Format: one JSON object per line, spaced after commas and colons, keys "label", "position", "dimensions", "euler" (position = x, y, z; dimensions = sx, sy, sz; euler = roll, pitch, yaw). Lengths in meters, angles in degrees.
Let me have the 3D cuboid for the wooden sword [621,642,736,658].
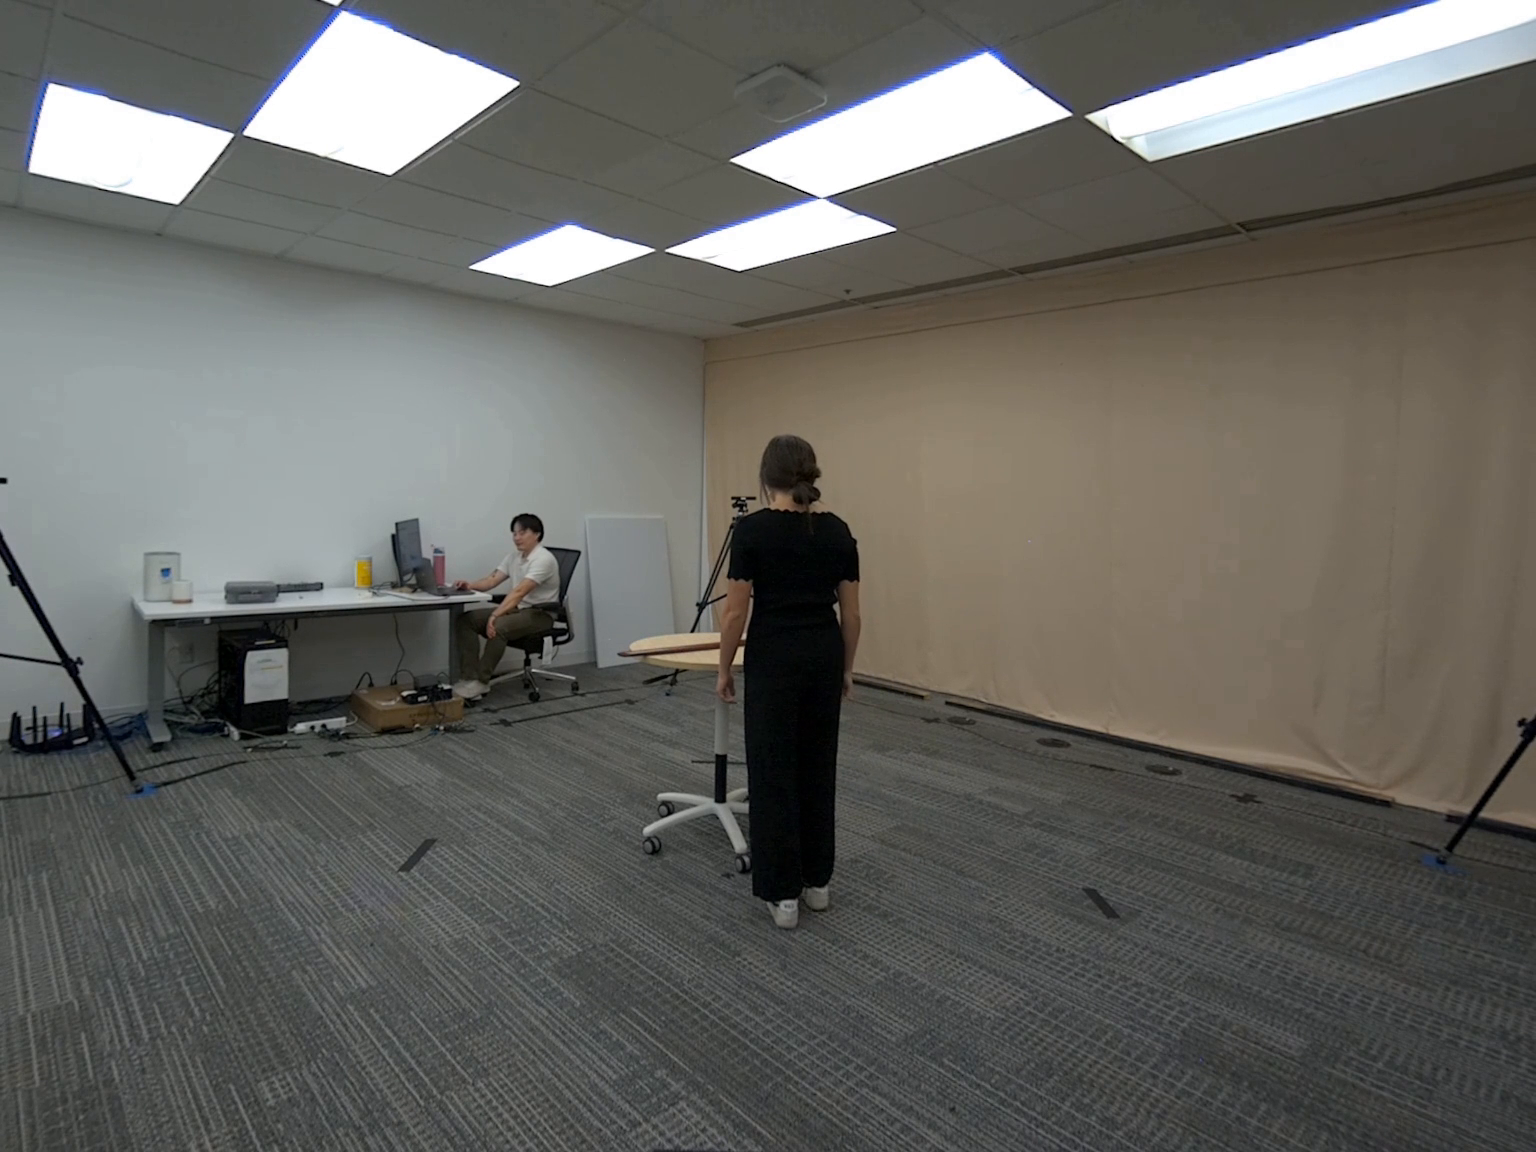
{"label": "wooden sword", "position": [-0.130, 0.289, 3.463], "dimensions": [1.001, 0.051, 0.025], "euler": [-3, 33, -42]}
